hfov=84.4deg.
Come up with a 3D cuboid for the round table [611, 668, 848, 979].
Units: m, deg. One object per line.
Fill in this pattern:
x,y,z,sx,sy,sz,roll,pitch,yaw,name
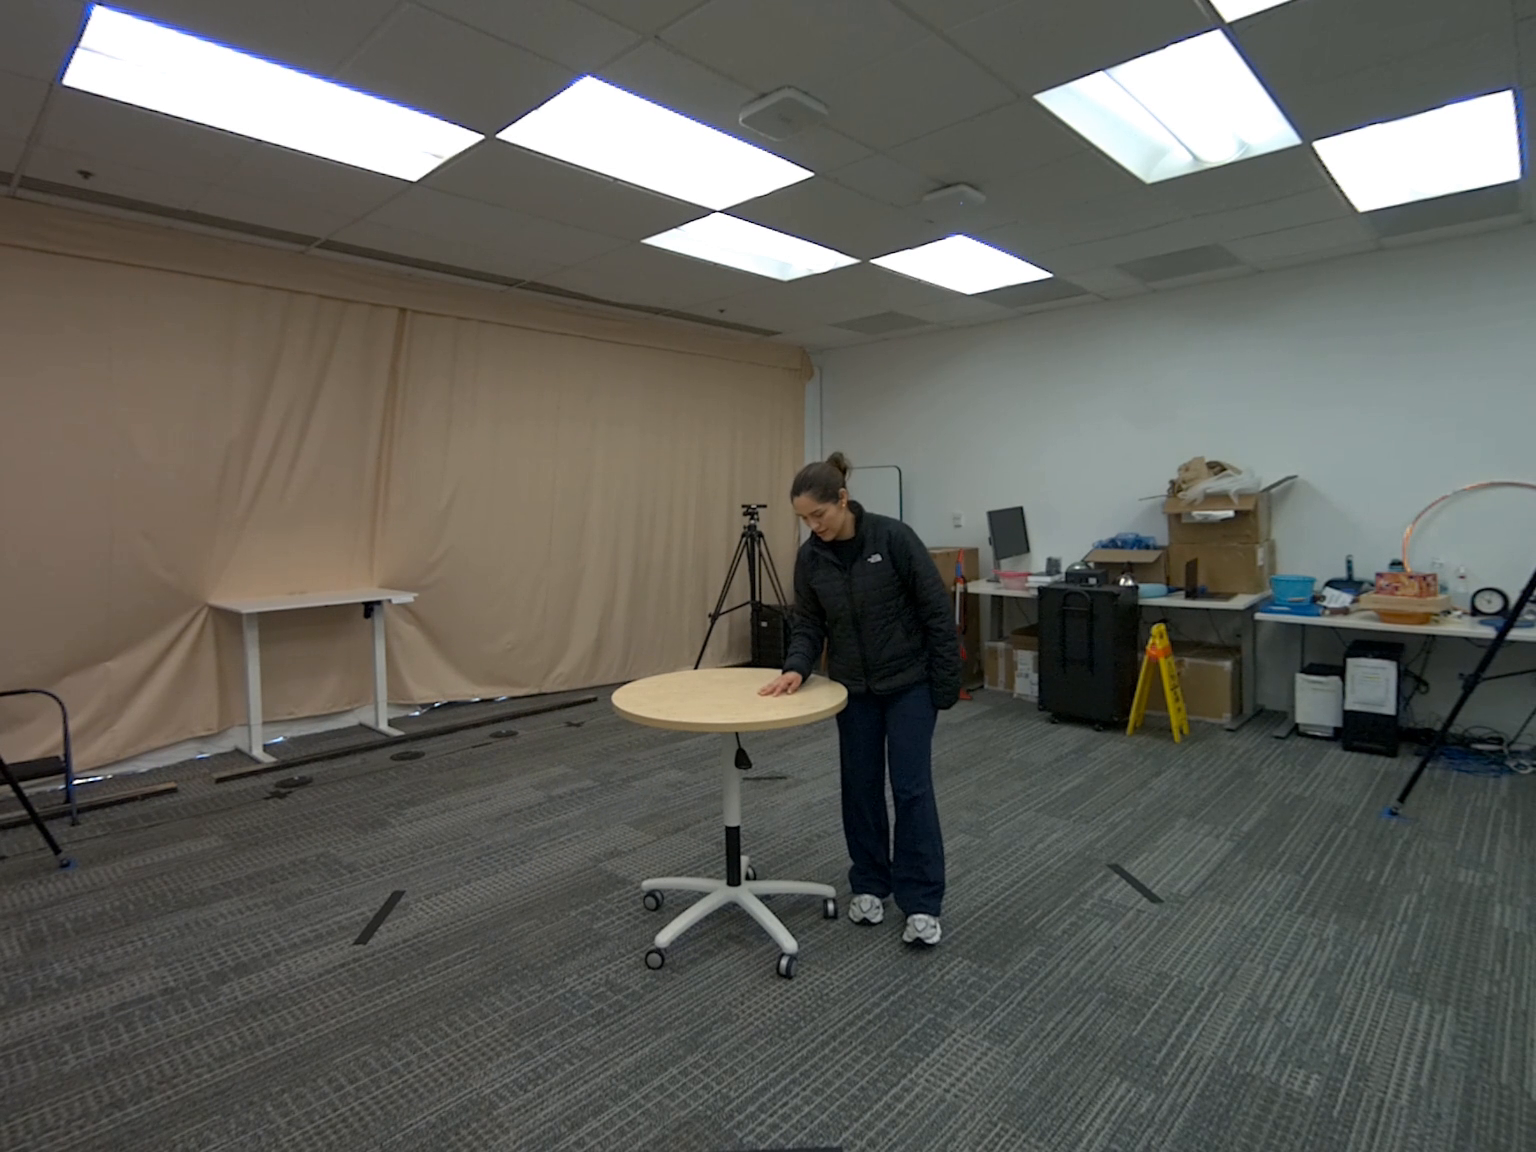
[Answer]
-0.113,0.769,2.784,0.784,0.784,0.788,-1,4,-2,round table
